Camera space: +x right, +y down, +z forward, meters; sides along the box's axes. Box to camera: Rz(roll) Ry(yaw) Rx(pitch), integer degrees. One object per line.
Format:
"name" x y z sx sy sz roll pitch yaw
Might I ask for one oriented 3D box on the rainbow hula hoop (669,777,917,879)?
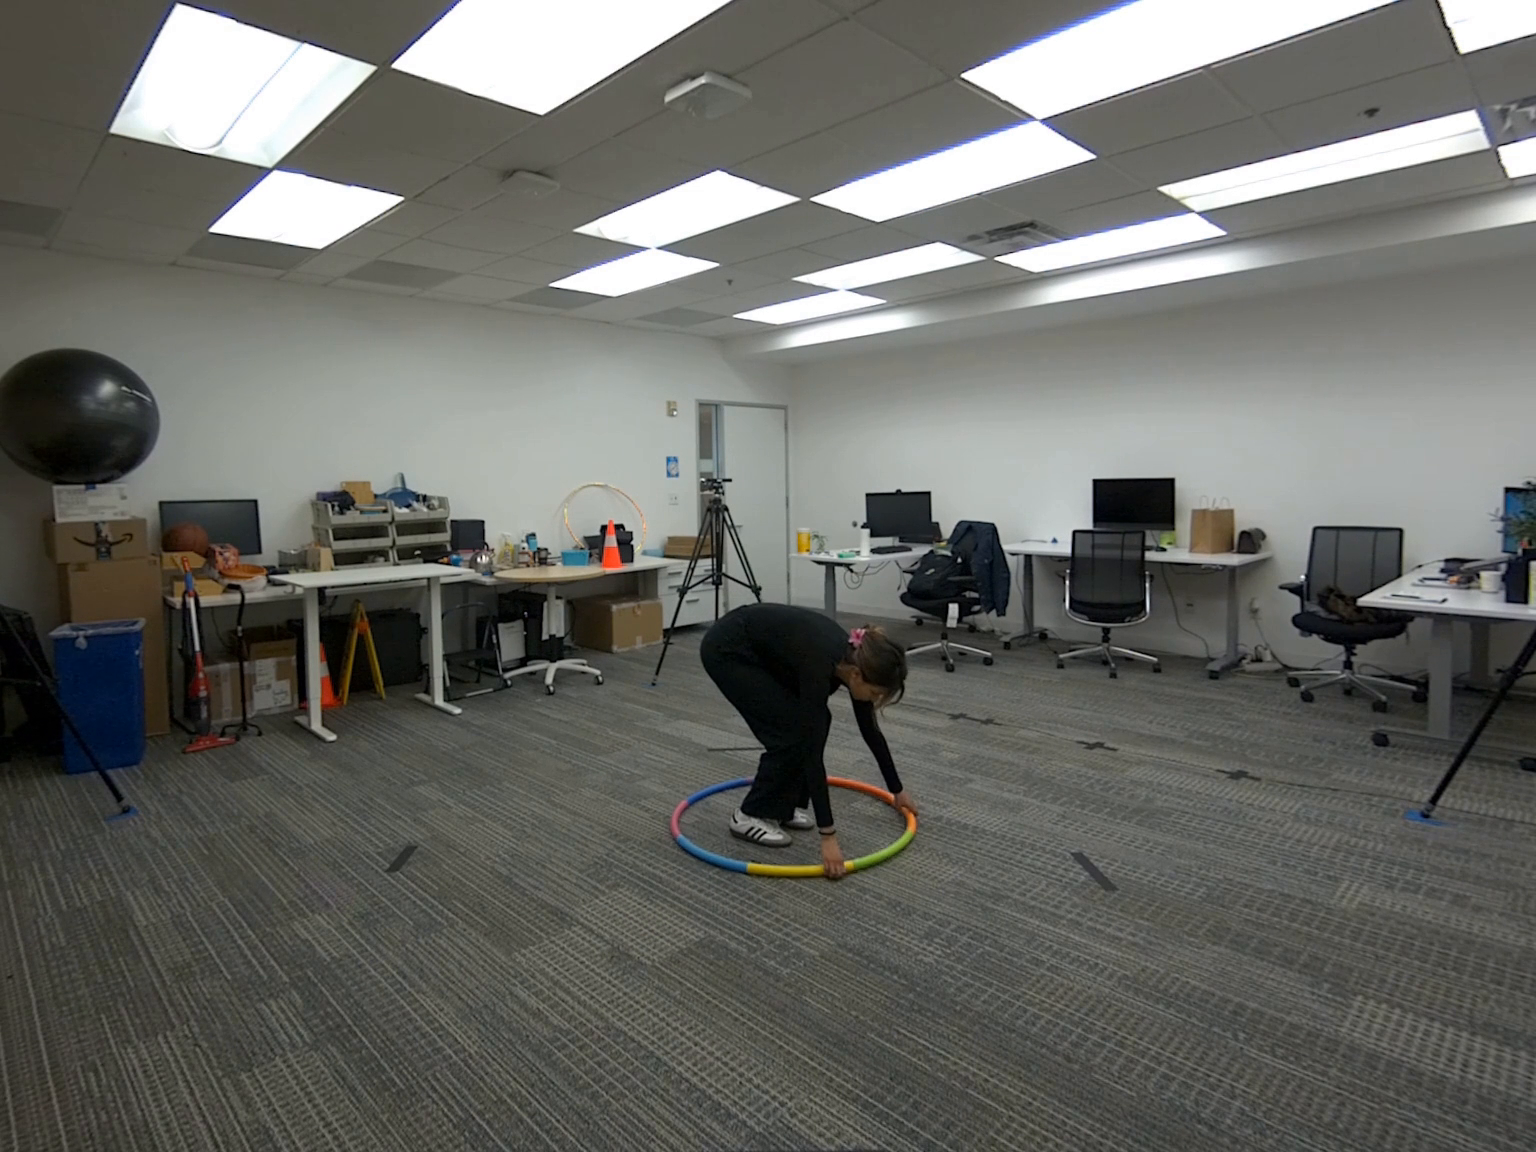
"rainbow hula hoop" 0.087 0.962 3.455 0.978 0.035 0.984 -3 6 -1
